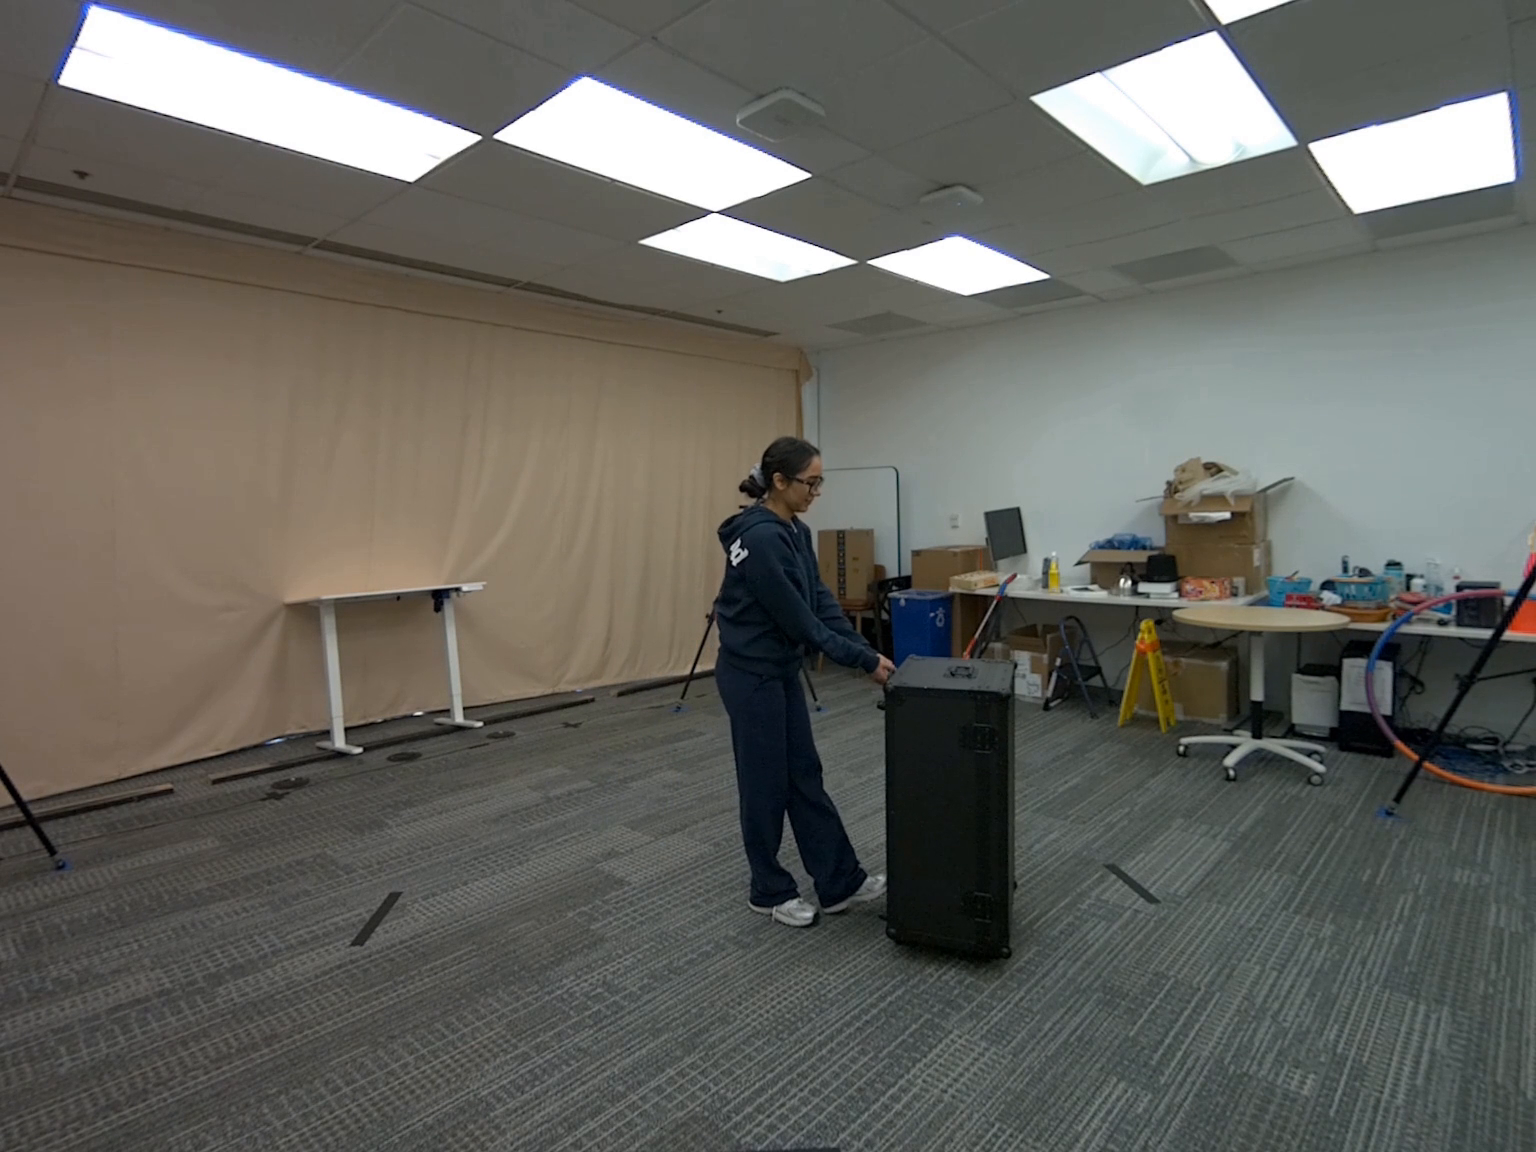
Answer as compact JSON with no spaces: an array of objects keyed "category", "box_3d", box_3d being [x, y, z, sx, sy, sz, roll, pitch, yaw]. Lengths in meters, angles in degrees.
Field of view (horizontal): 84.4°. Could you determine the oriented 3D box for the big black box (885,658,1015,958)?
[{"category":"big black box","box_3d":[0.590,0.733,2.688,0.405,0.859,0.512,-1,4,20]}]
